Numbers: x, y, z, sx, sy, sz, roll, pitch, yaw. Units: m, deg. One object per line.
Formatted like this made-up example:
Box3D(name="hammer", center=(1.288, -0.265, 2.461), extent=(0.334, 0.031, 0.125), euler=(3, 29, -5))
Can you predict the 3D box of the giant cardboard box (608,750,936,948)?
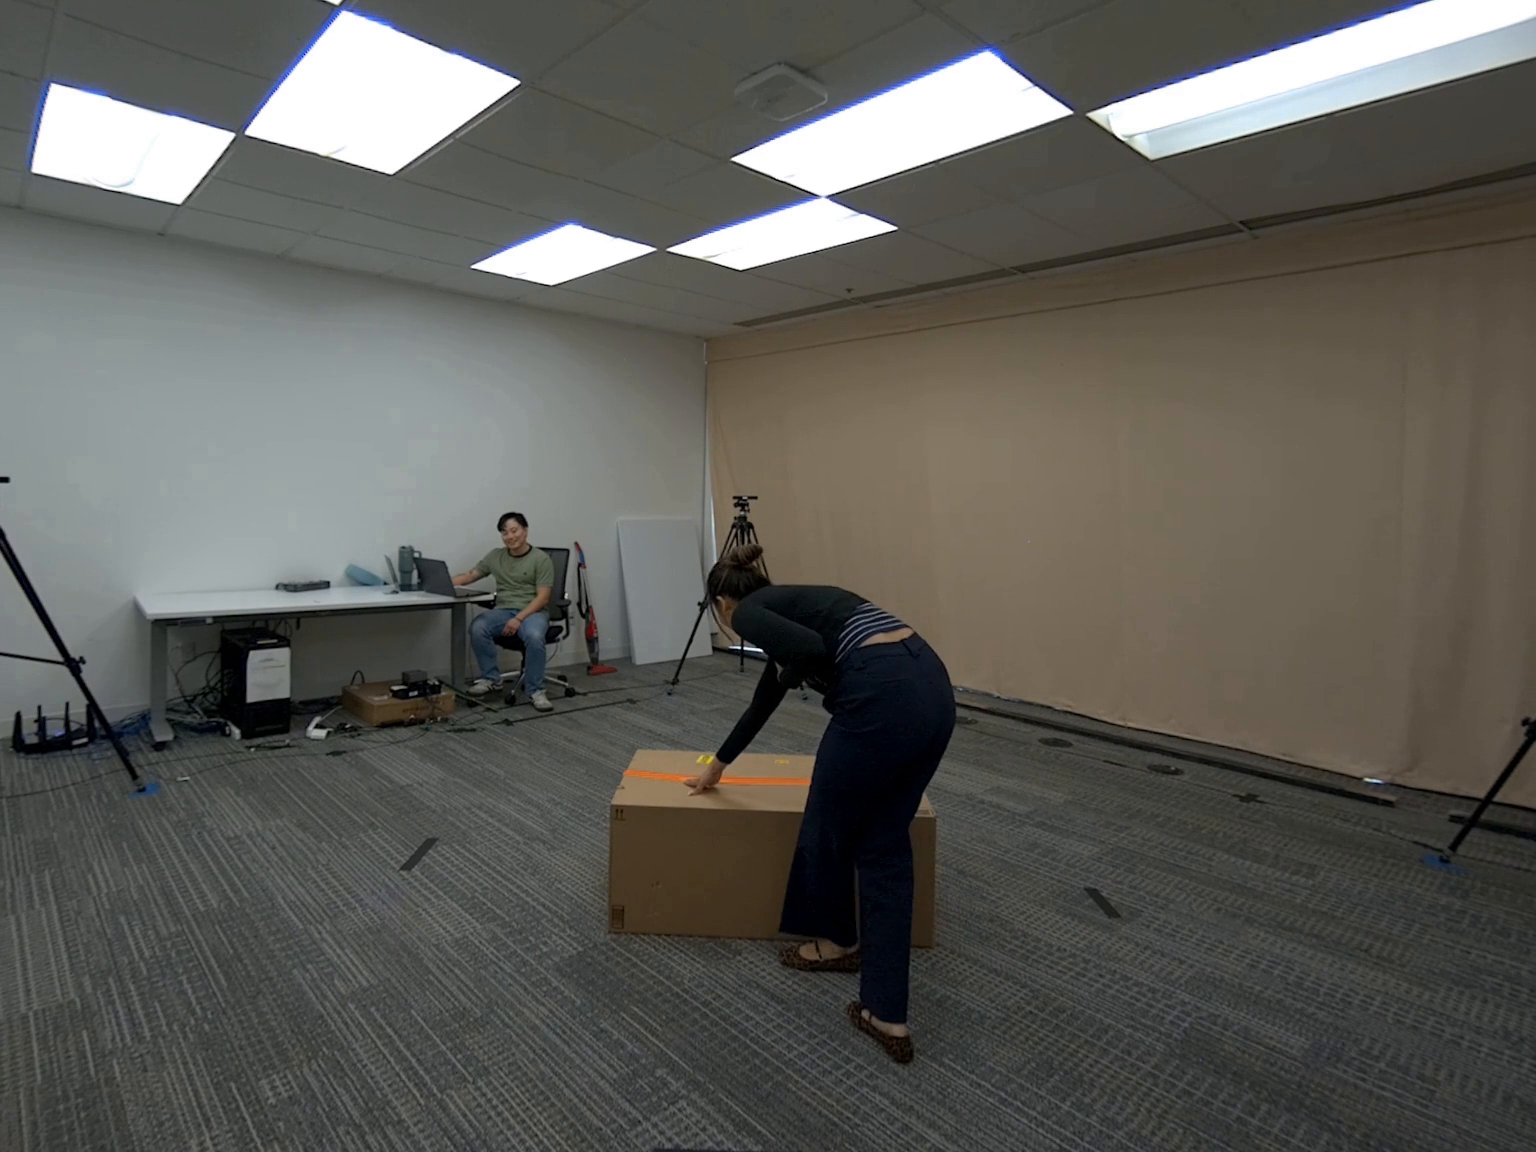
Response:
Box3D(name="giant cardboard box", center=(0.003, 0.910, 2.916), extent=(1.028, 0.425, 0.578), euler=(1, 4, 2))
